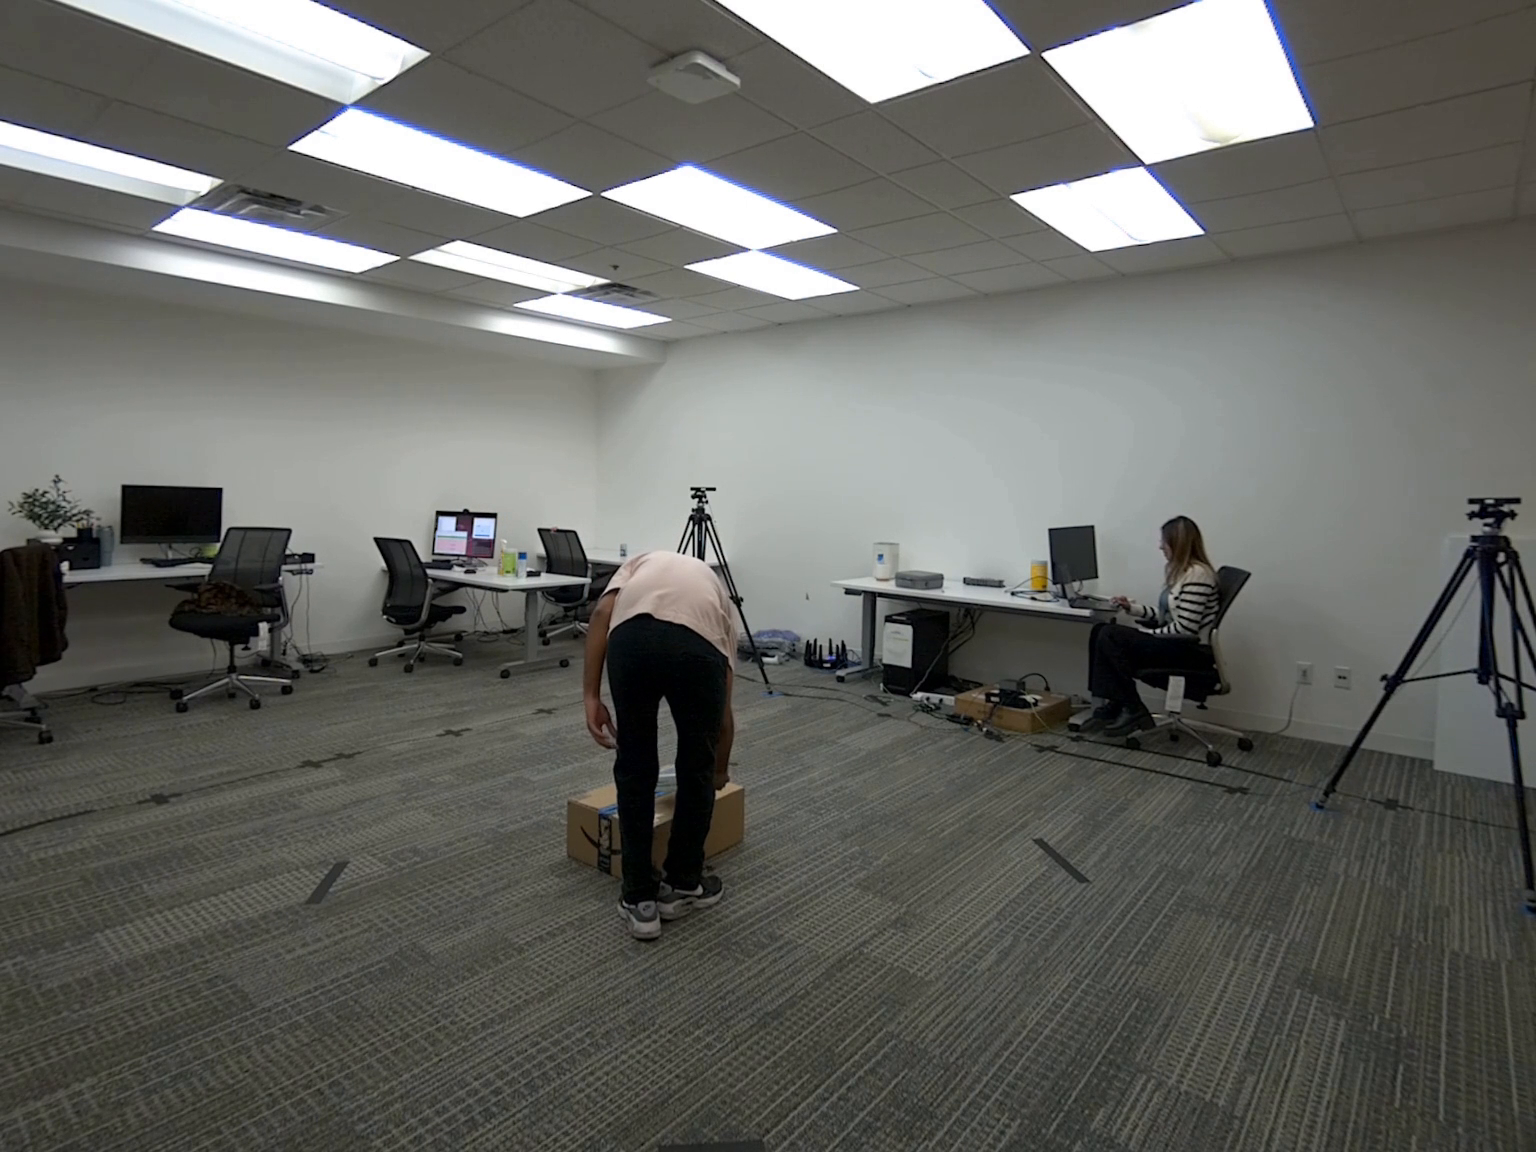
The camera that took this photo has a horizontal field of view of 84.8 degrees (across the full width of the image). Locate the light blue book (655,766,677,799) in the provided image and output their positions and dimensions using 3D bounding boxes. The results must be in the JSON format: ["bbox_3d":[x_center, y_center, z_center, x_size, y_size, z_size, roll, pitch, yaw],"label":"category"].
[{"bbox_3d":[-0.318,0.749,3.154,0.267,0.059,0.186,-12,-3,40],"label":"light blue book"}]
